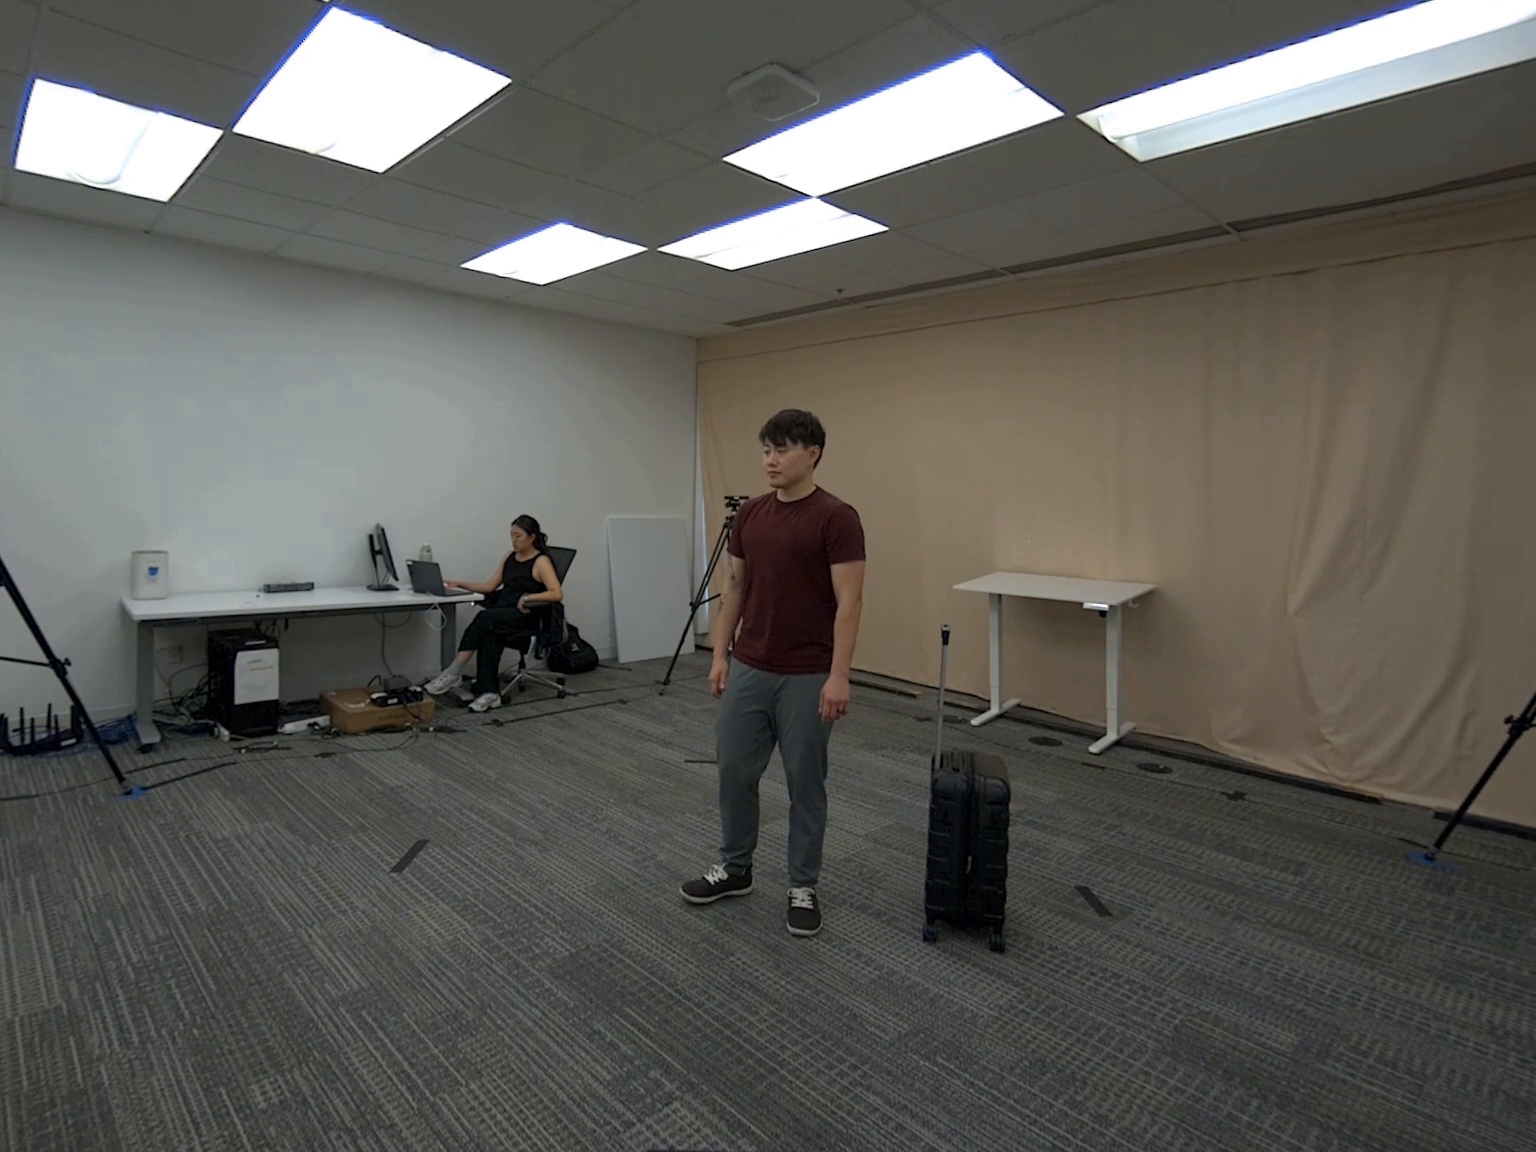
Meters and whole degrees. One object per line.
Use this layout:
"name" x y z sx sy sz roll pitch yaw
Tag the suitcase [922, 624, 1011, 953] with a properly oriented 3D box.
"suitcase" 0.664 0.674 2.791 0.259 0.977 0.381 5 3 10
